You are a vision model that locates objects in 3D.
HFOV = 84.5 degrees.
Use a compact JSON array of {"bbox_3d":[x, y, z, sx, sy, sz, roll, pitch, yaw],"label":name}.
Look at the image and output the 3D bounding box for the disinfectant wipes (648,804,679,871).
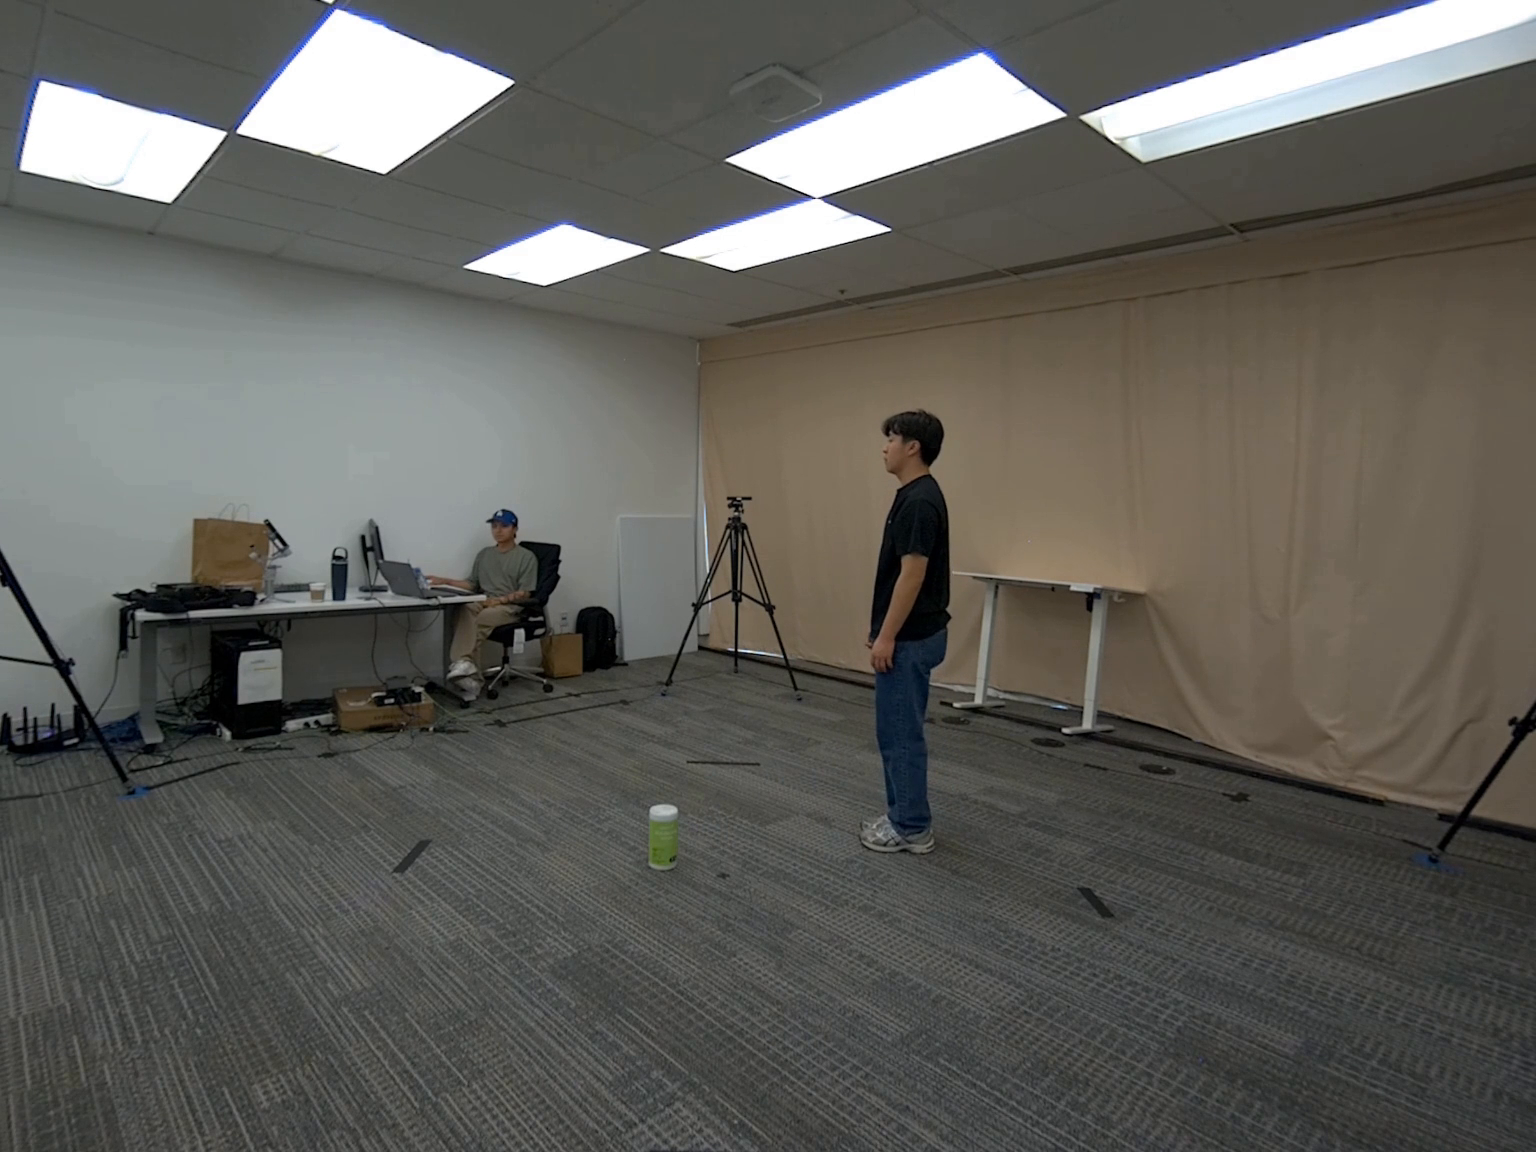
[{"bbox_3d":[-0.406,0.985,3.178,0.118,0.216,0.118,3,6,-2],"label":"disinfectant wipes"}]
